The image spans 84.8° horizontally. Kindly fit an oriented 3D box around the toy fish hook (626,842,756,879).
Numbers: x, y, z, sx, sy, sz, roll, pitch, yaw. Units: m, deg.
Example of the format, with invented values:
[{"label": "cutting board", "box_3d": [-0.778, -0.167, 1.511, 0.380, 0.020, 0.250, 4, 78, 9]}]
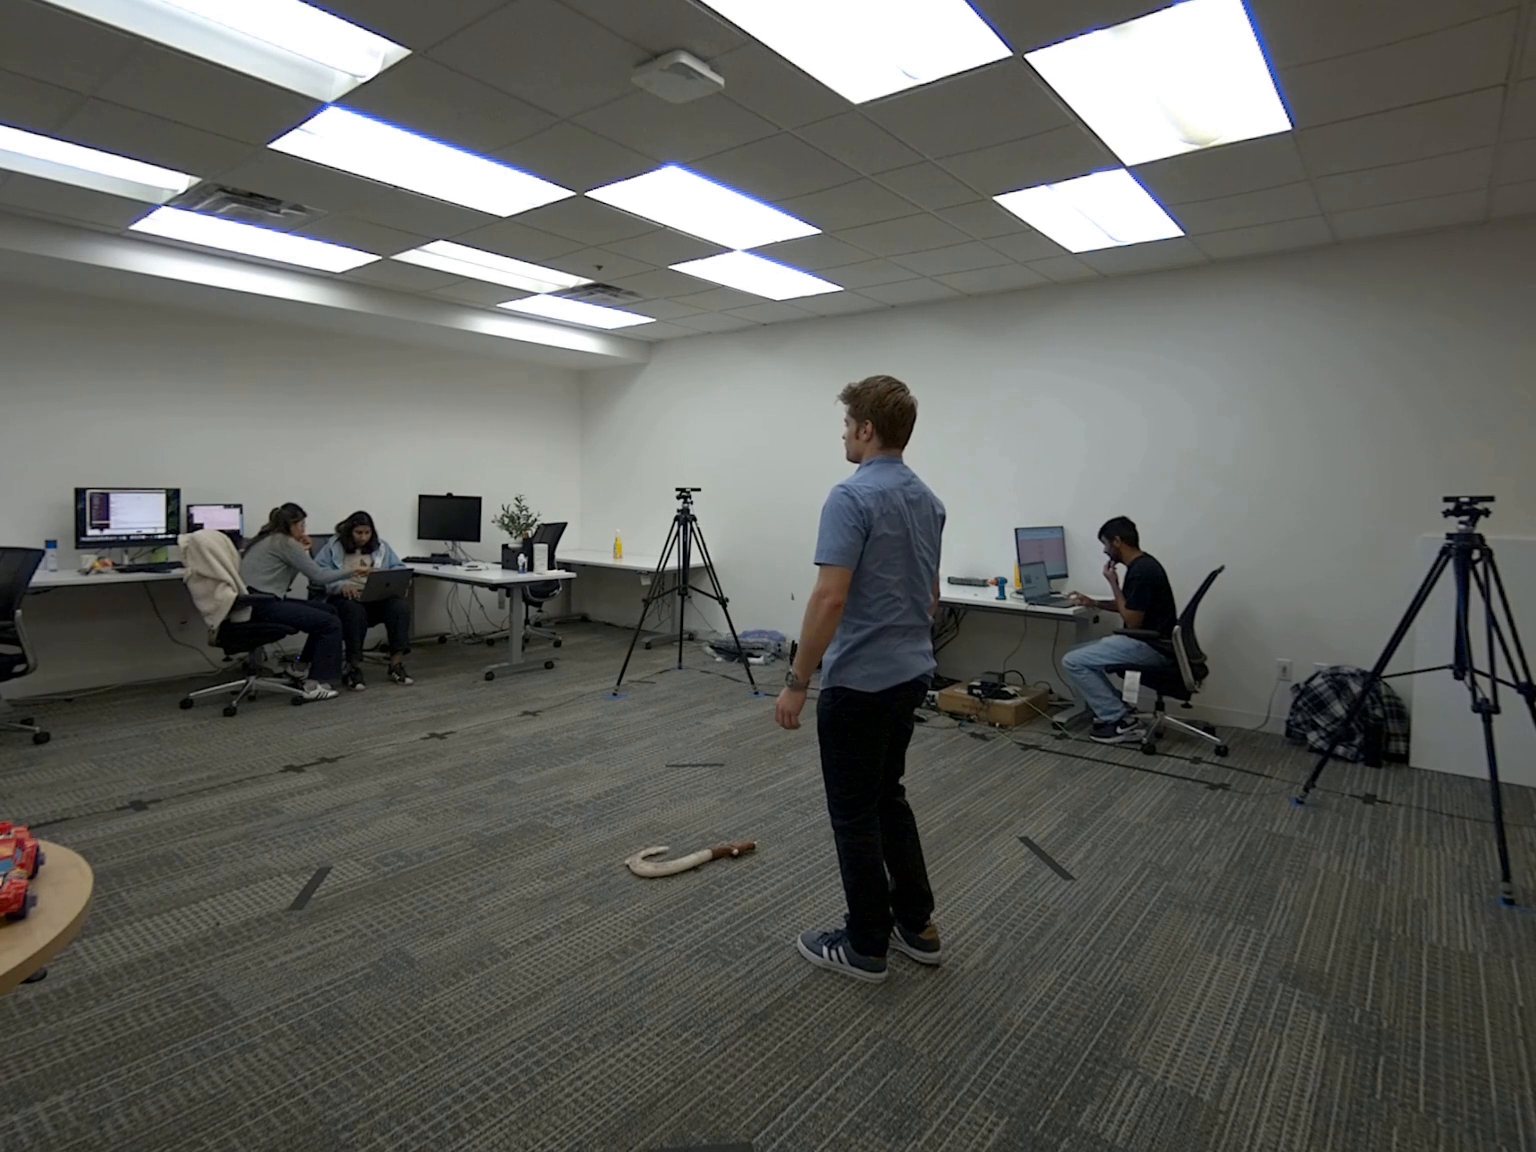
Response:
[{"label": "toy fish hook", "box_3d": [-0.294, 1.037, 3.195, 0.494, 0.048, 0.232, -2, 8, -29]}]
